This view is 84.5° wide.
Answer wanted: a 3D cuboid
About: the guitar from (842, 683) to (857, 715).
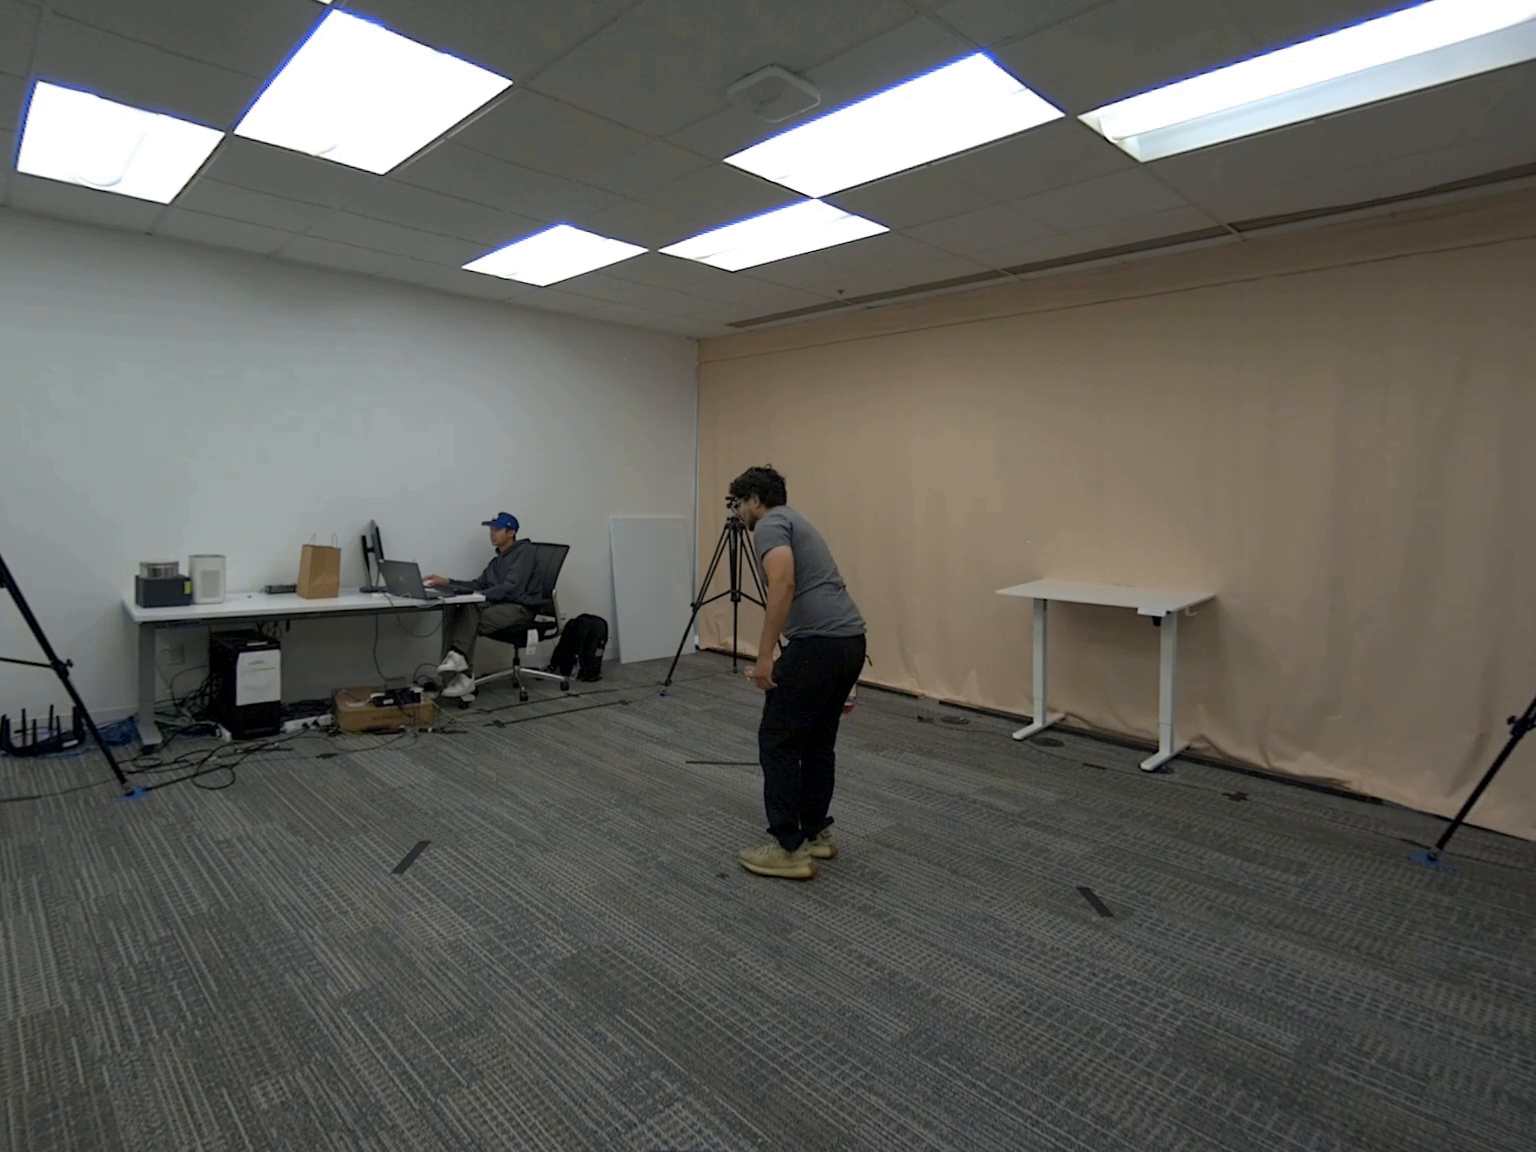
[{"bbox_3d":[0.135,0.449,3.621,0.498,0.069,0.196,16,41,0],"label":"guitar"}]
